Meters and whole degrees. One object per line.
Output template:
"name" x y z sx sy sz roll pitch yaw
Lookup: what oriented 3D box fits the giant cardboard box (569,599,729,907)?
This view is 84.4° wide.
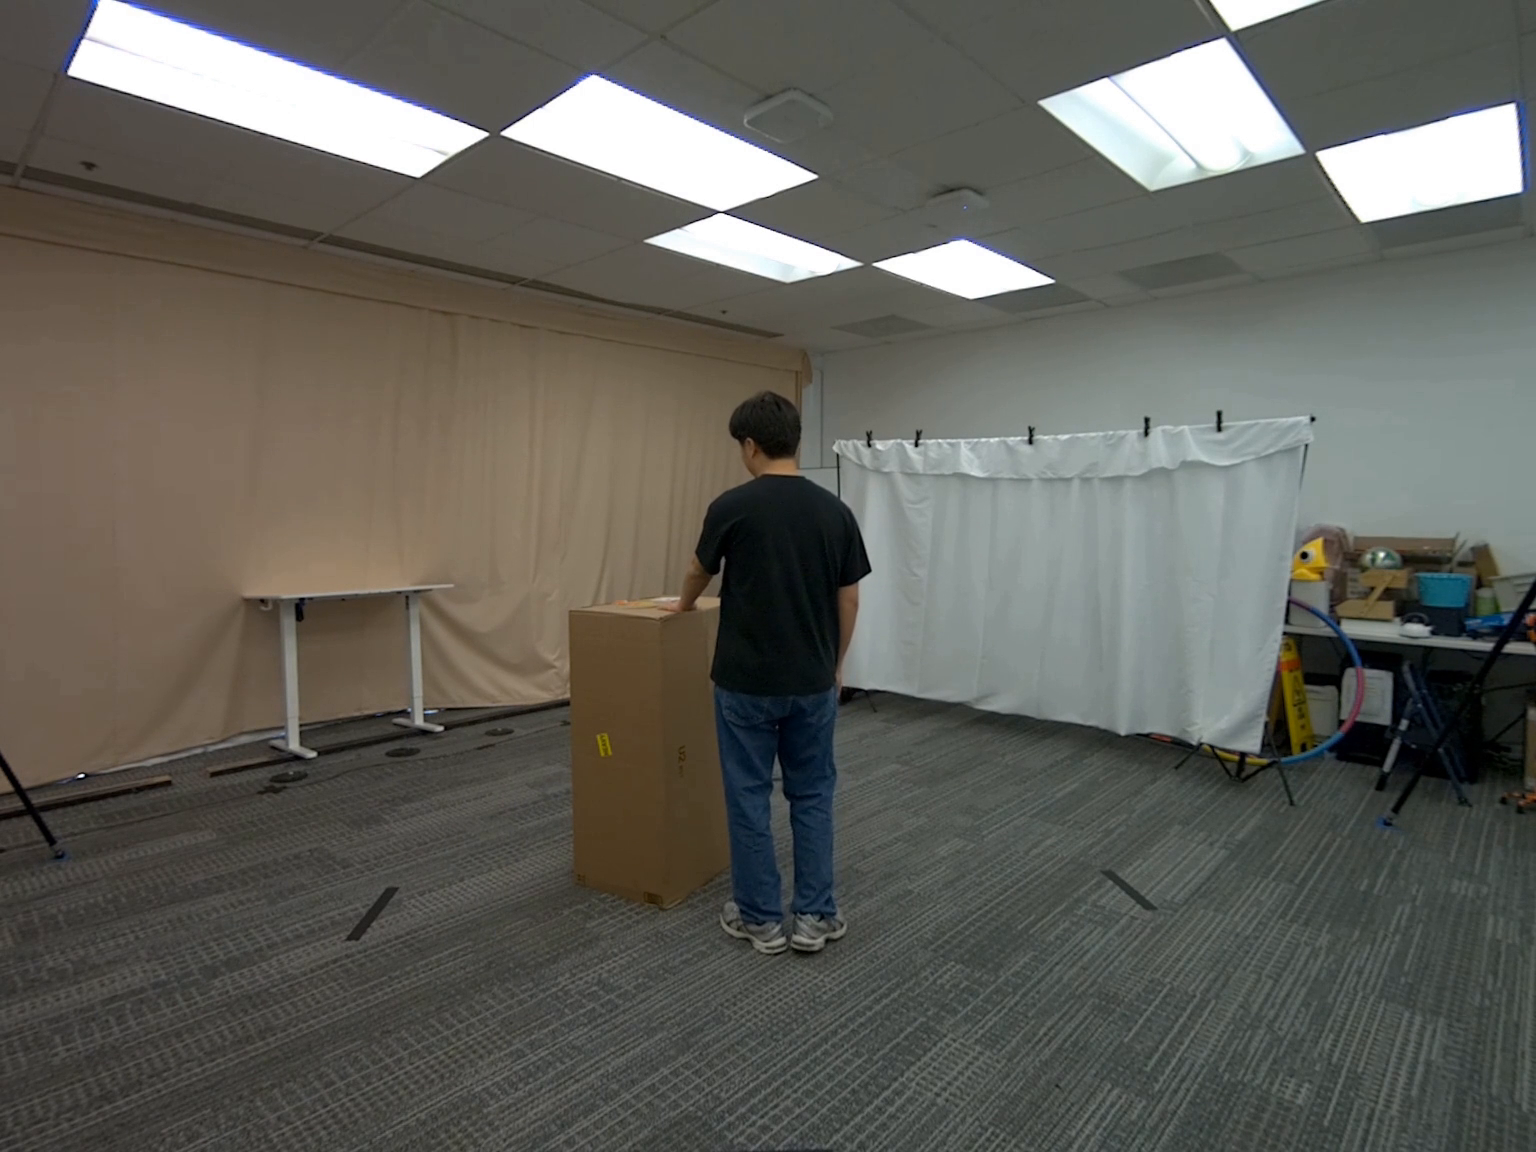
"giant cardboard box" -0.406 0.614 3.227 0.460 1.025 0.568 1 3 32
